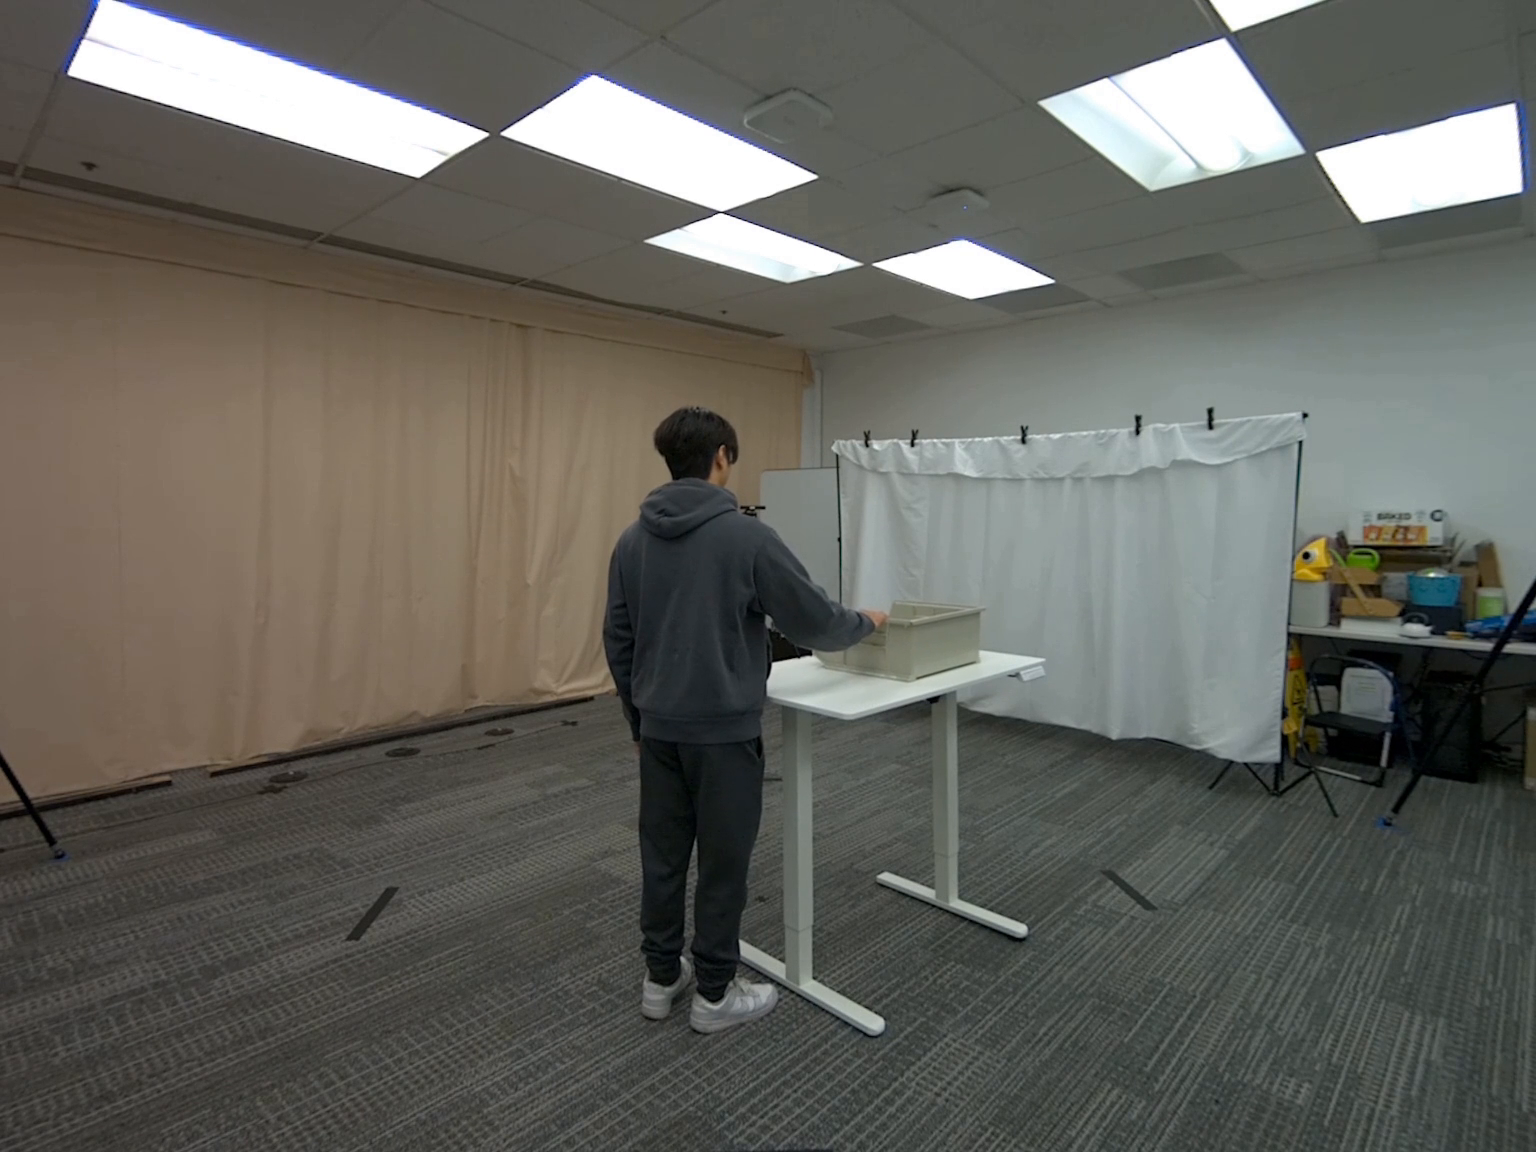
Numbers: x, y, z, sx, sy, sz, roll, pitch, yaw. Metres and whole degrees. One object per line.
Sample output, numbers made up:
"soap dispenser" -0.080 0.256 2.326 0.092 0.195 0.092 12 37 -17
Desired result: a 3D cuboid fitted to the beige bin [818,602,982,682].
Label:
"beige bin" 0.420 0.196 2.678 0.390 0.188 0.409 4 6 44
